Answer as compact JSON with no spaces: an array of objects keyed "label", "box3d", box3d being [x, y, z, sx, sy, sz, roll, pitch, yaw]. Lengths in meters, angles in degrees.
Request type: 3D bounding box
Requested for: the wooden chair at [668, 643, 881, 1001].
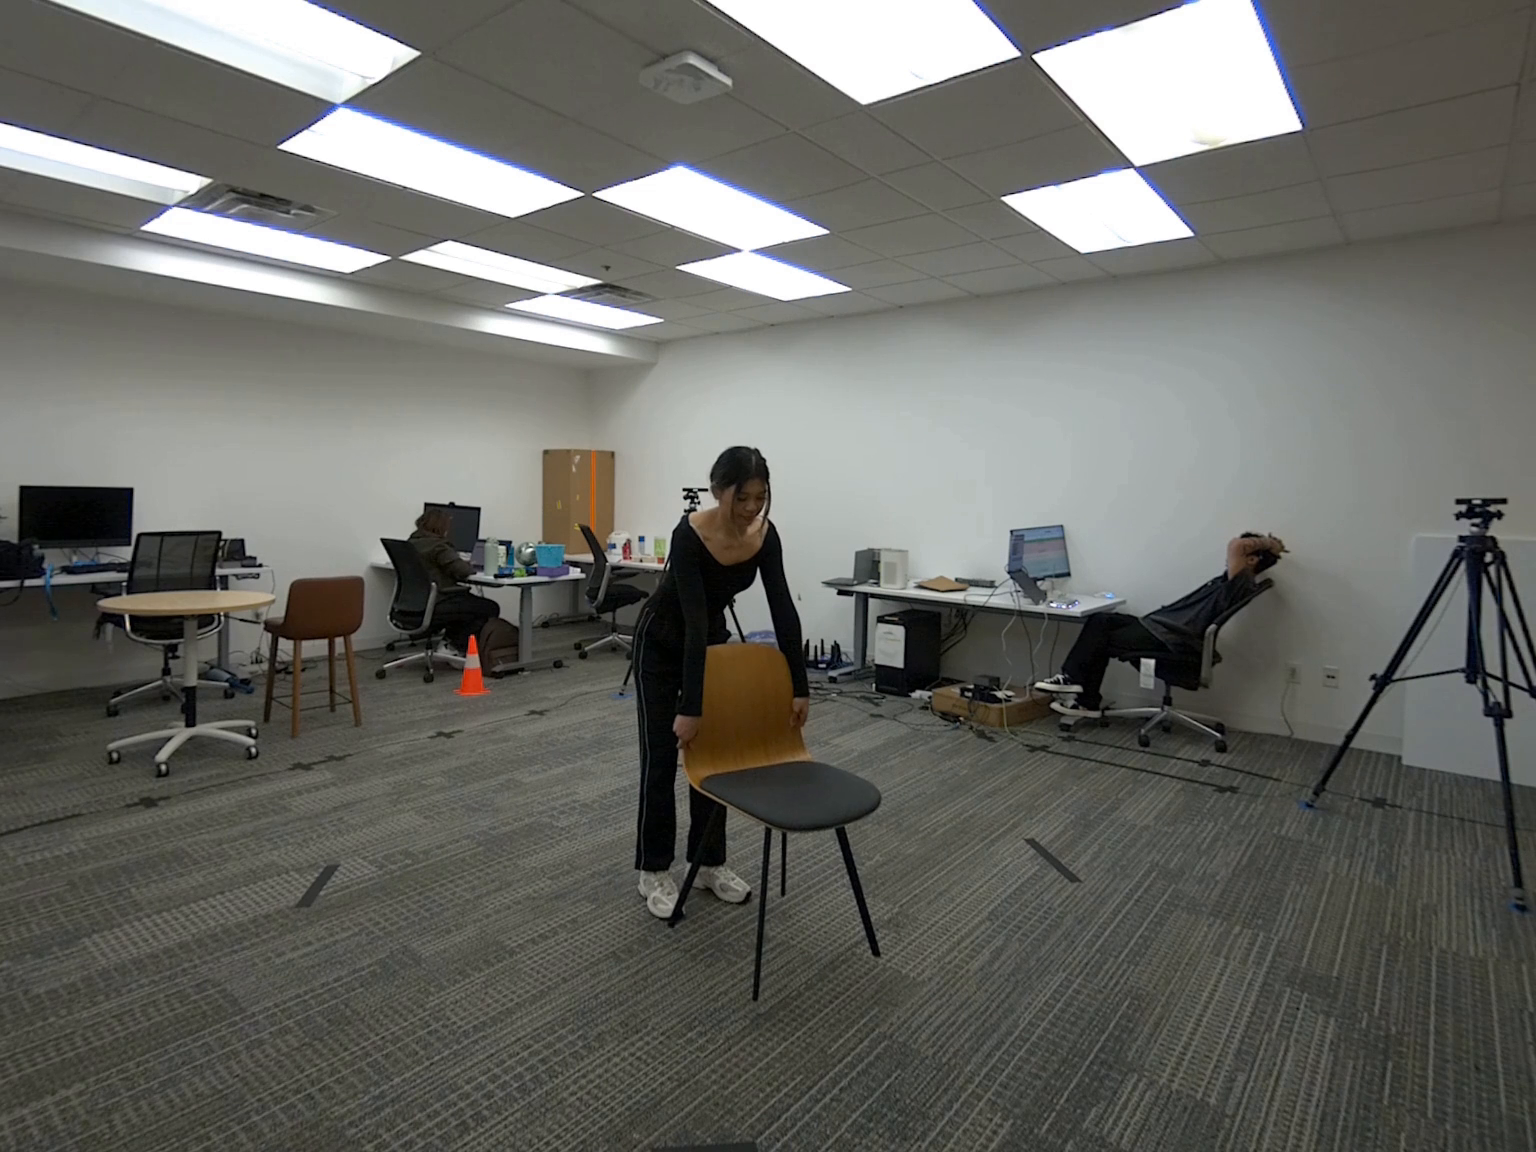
[{"label":"wooden chair","box3d":[0.023,0.661,2.500,0.464,0.879,0.538,0,-1,-35]}]
